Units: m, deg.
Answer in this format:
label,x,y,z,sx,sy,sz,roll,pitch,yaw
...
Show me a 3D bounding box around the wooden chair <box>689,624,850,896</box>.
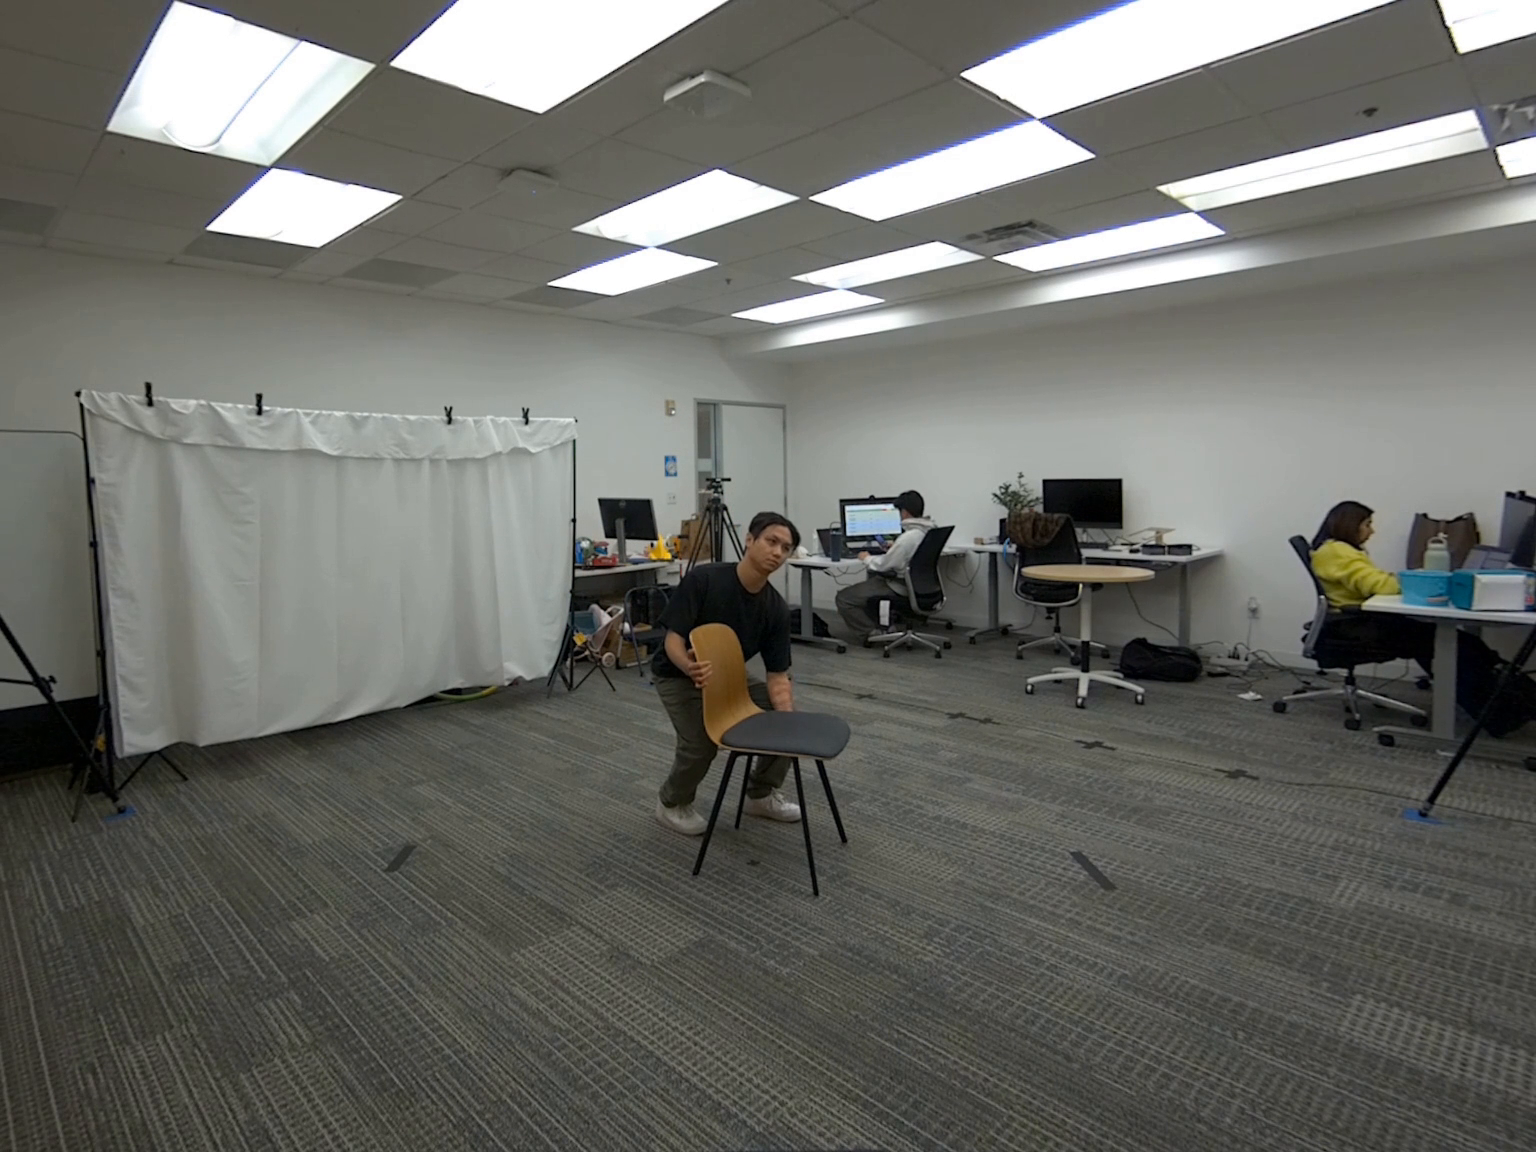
label,x,y,z,sx,sy,sz,roll,pitch,yaw
wooden chair,0.022,0.616,3.098,0.532,0.876,0.471,-4,2,19
